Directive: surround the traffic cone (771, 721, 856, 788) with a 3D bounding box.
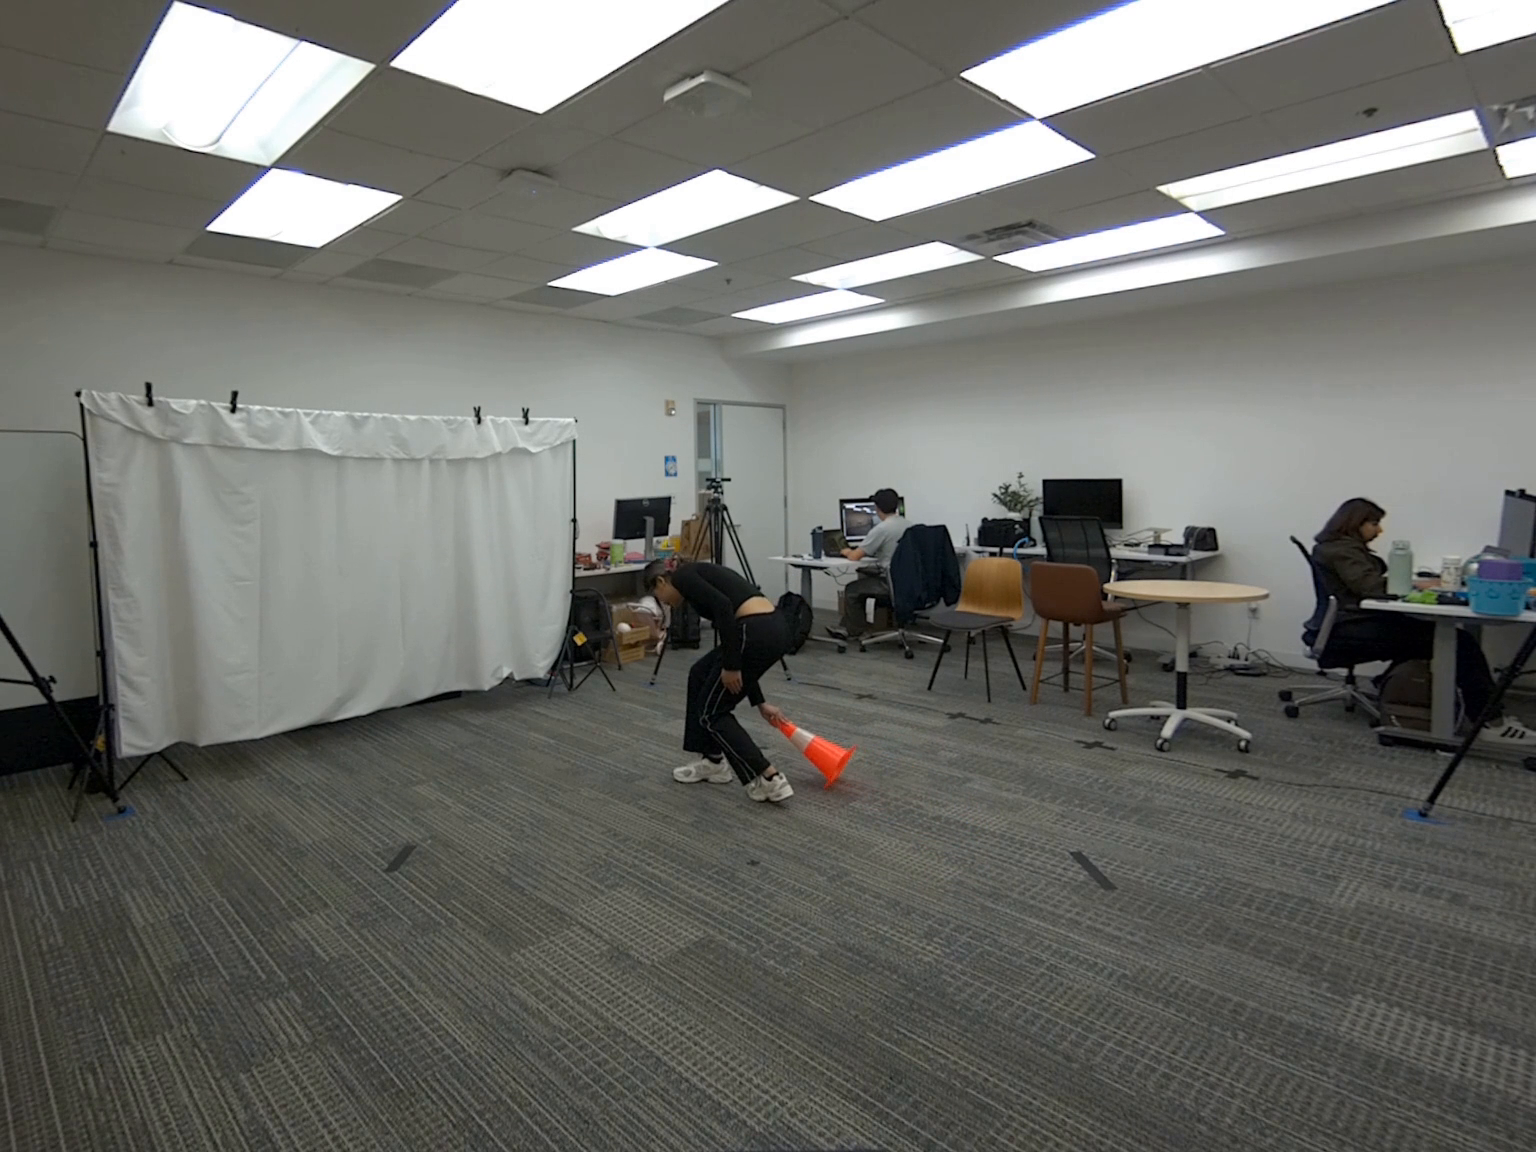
[{"bbox_3d":[0.176,0.762,3.941,0.394,0.201,0.201,33,23,22],"label":"traffic cone"}]
